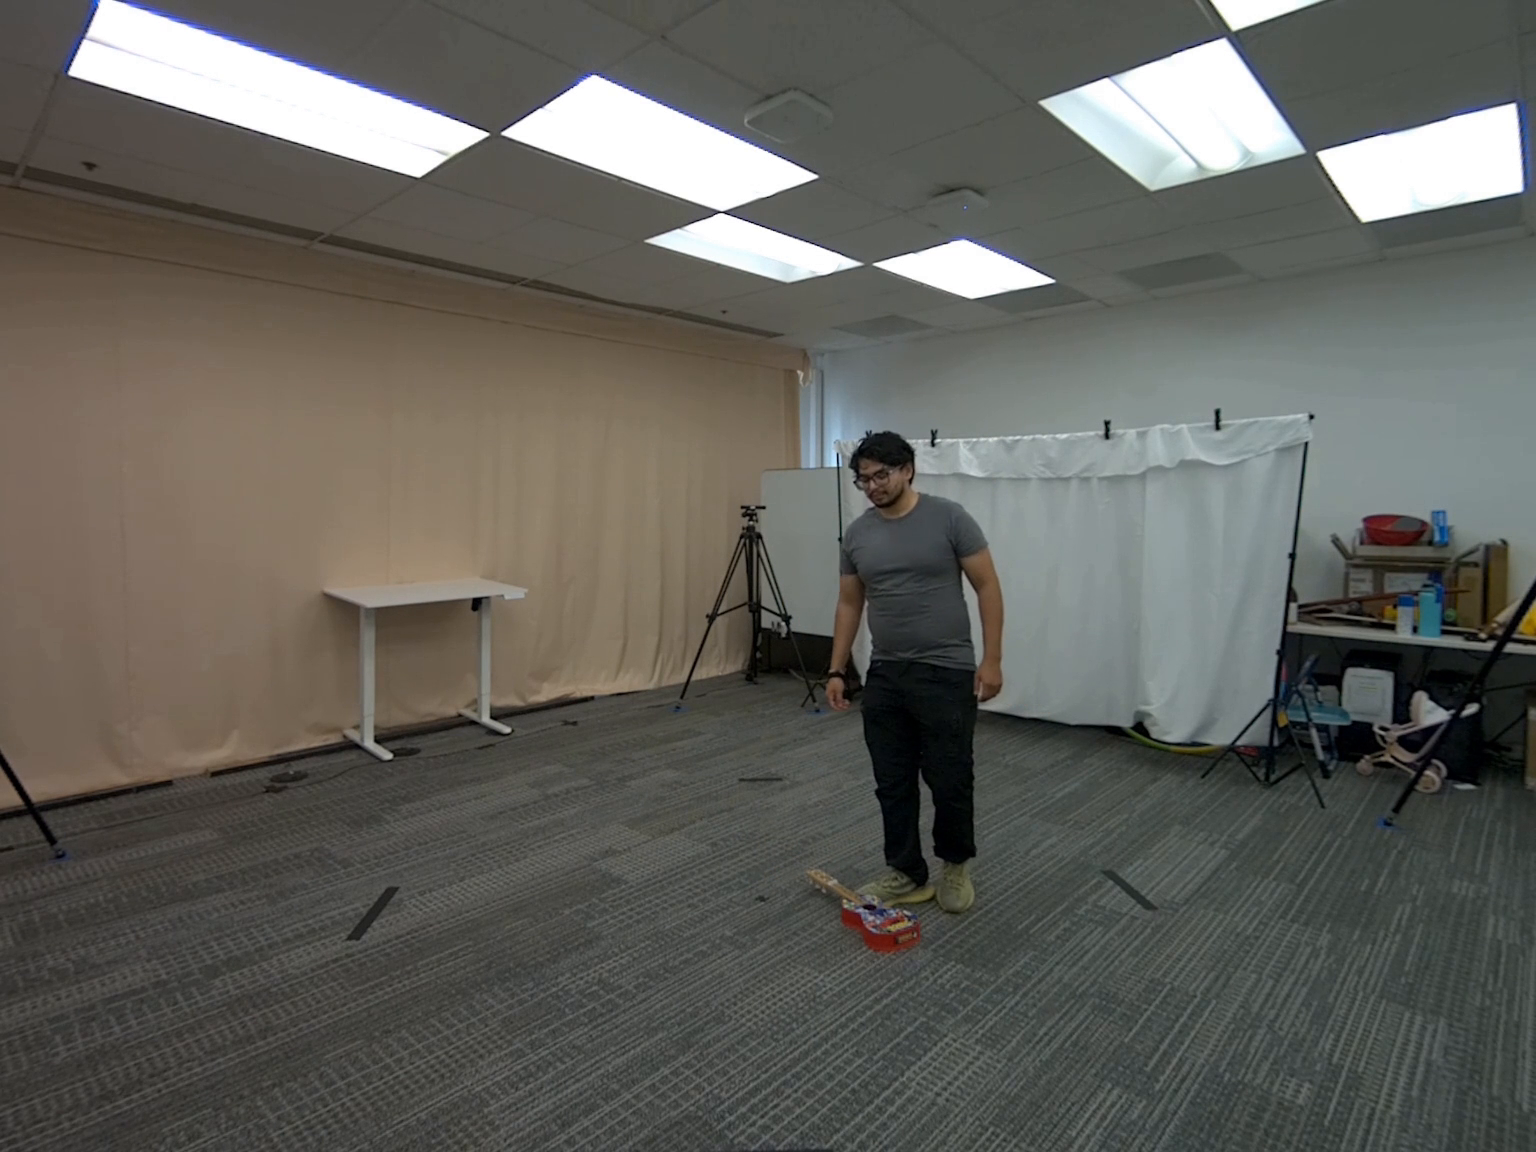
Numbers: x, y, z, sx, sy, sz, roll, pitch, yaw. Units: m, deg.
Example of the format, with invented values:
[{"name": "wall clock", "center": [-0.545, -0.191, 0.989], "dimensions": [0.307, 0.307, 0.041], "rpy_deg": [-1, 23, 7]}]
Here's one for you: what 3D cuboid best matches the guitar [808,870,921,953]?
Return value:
[{"name": "guitar", "center": [0.323, 1.115, 2.872], "dimensions": [0.189, 0.070, 0.510], "rpy_deg": [-3, 6, -24]}]
